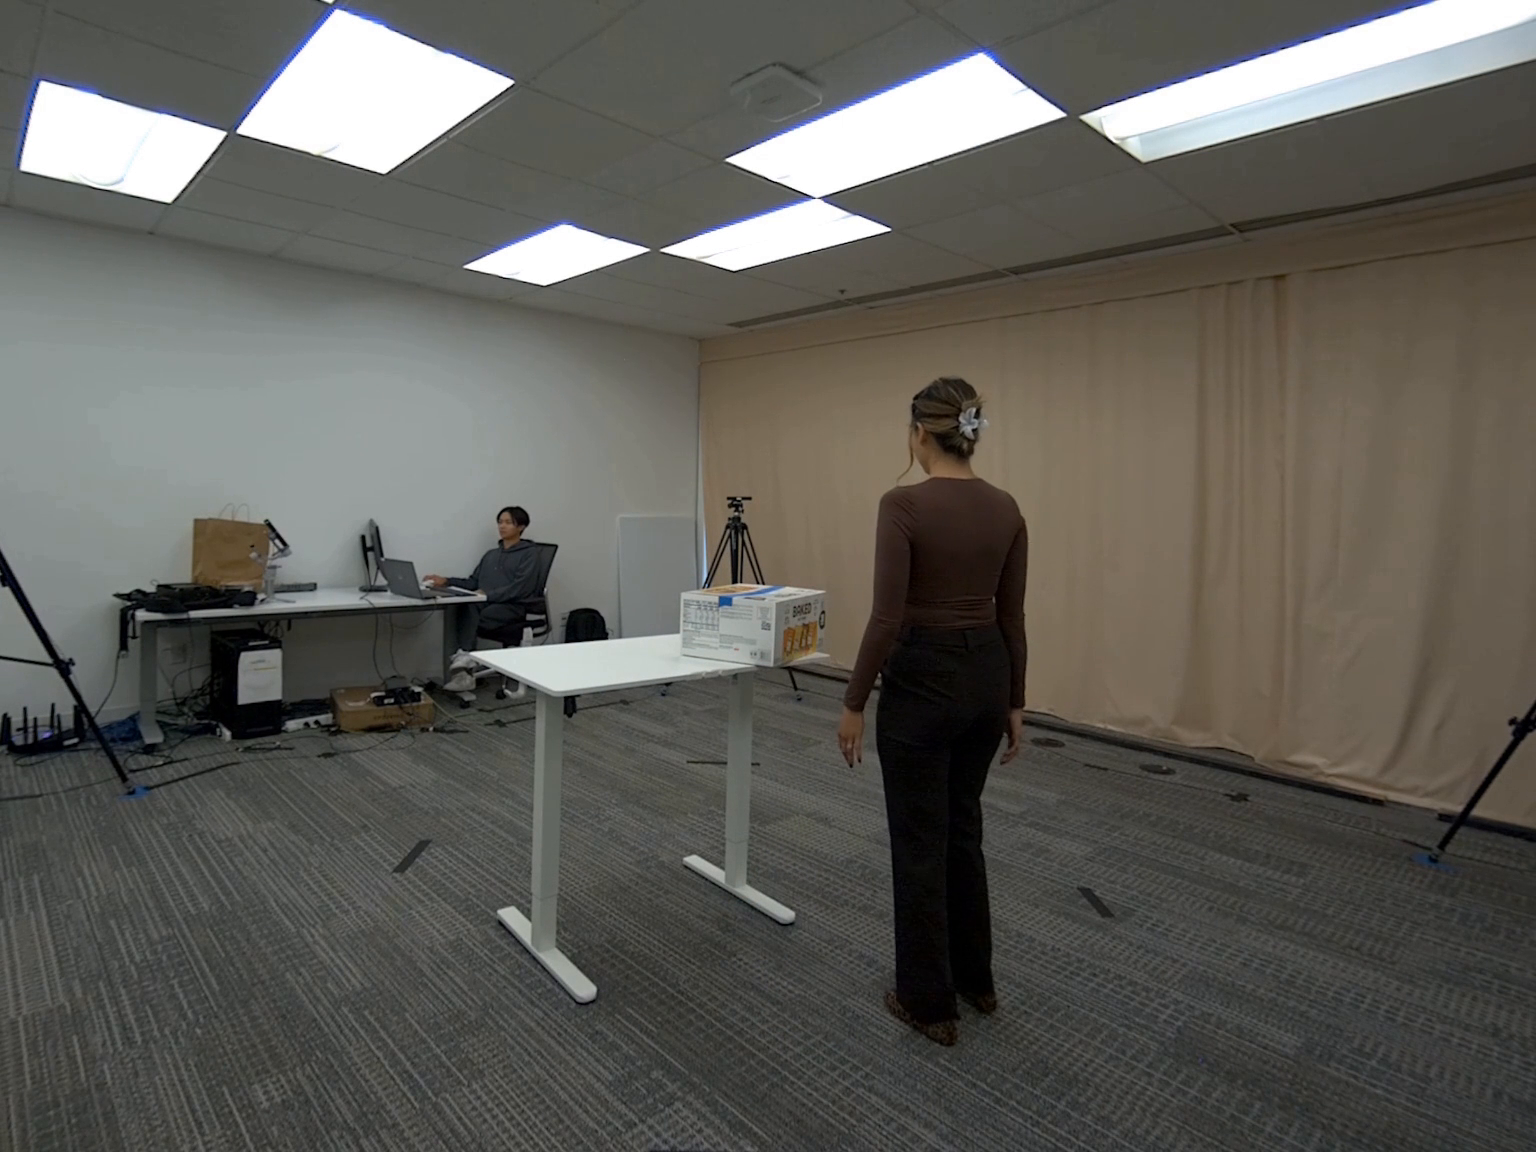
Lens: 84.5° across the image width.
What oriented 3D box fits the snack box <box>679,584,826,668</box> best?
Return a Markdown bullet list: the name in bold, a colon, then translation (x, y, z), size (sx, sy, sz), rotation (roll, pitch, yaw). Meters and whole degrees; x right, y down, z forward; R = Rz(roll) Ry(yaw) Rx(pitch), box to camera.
- **snack box**: translation (-0.045, 0.155, 2.793), size (0.347, 0.205, 0.398), rotation (4, 5, 27)
